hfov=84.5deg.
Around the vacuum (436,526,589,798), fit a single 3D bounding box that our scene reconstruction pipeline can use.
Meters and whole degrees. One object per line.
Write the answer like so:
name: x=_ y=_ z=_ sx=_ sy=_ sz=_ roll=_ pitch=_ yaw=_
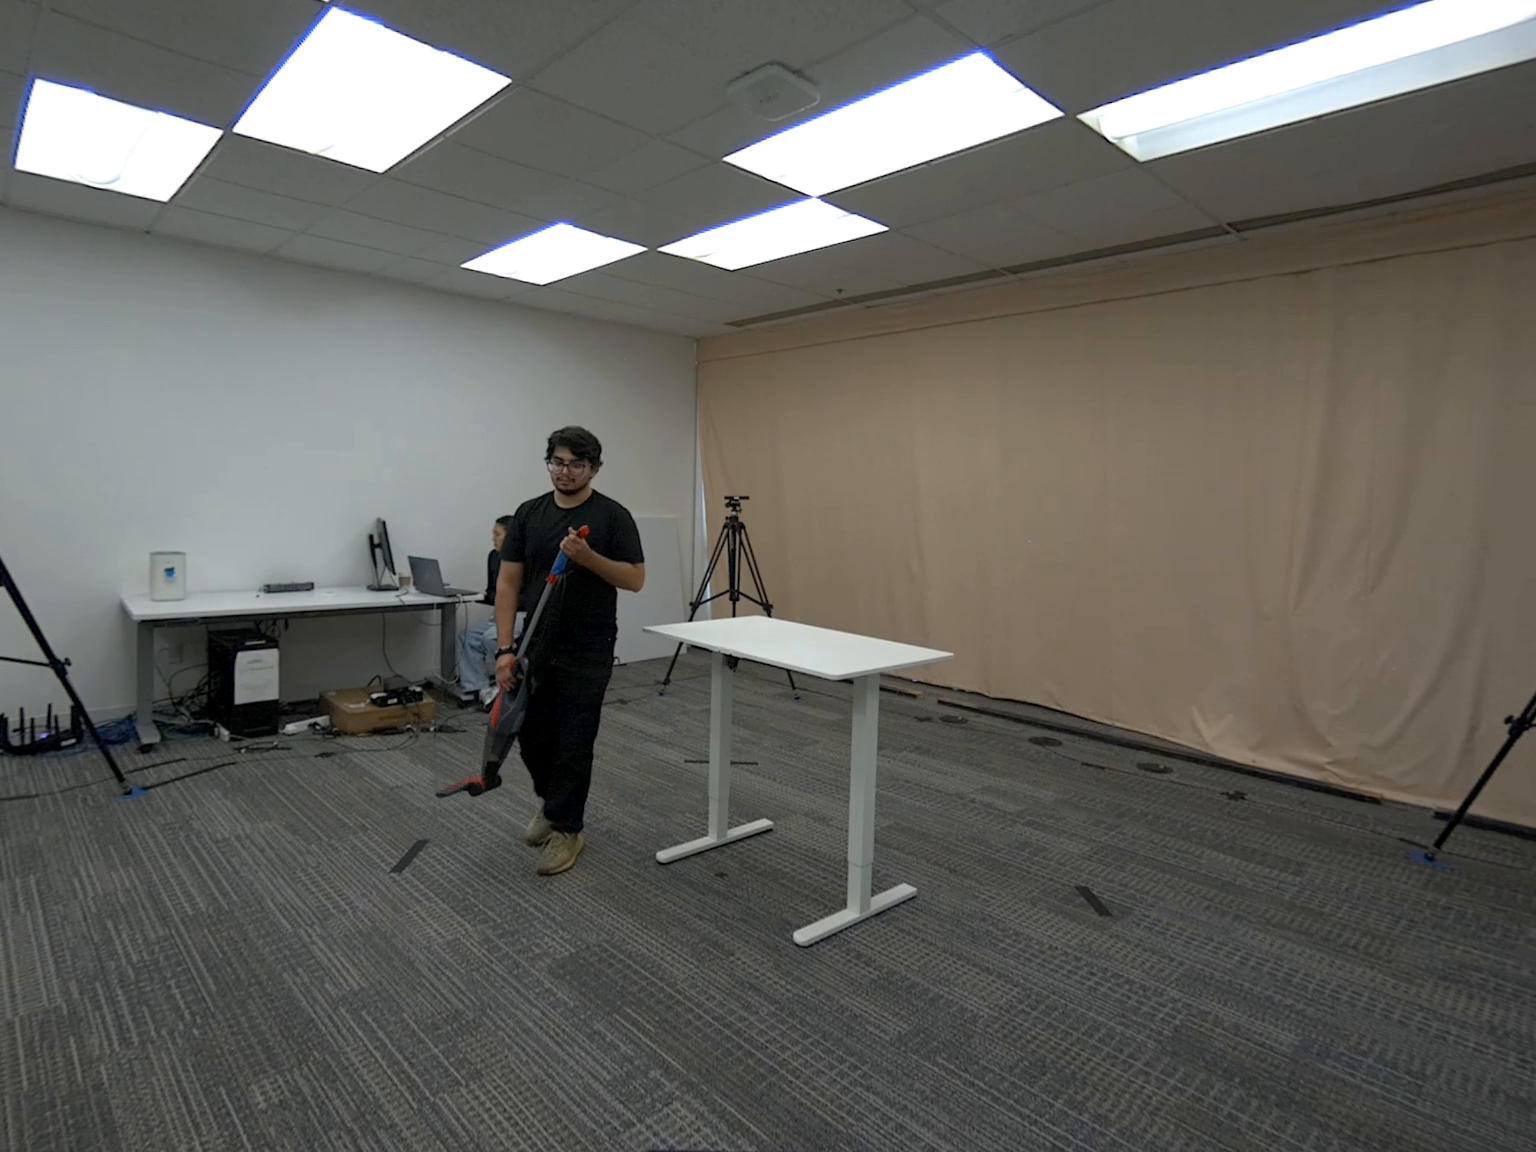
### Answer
vacuum: x=-0.852 y=0.305 z=2.975 sx=0.147 sy=1.045 sz=0.247 roll=29 pitch=11 yaw=24
